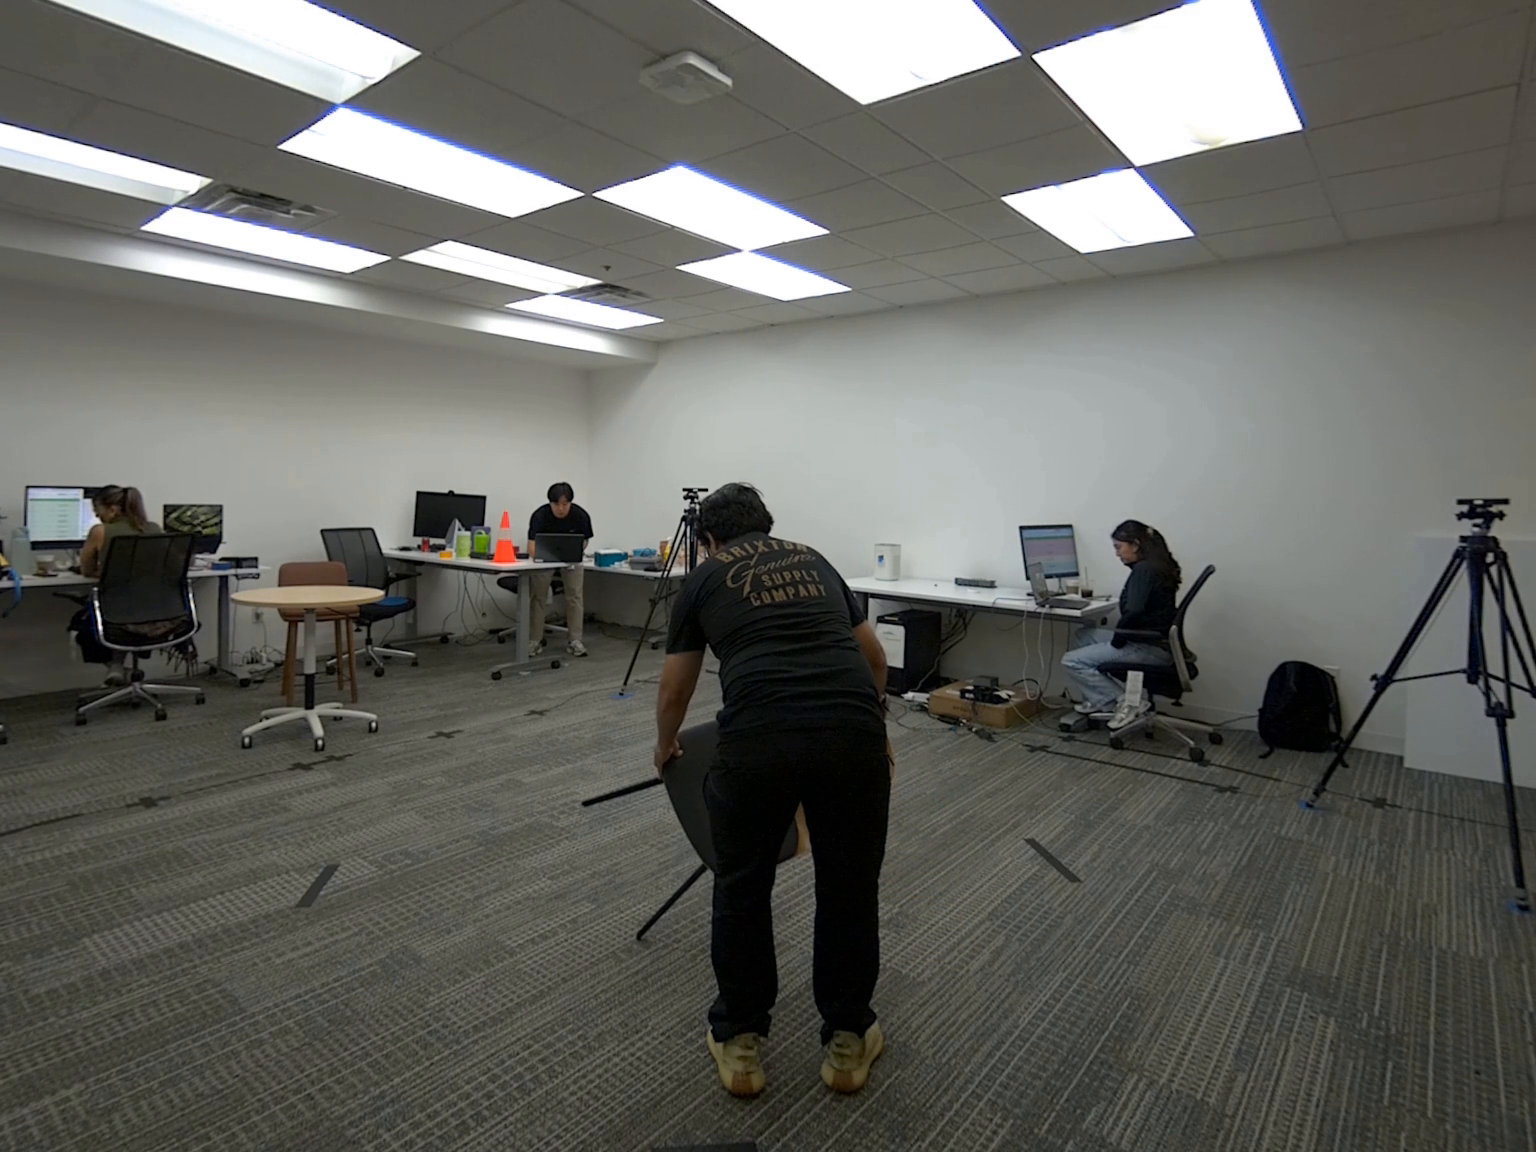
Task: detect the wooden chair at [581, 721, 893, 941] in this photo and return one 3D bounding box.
[{"bbox_3d":[-0.105,0.678,2.621,0.881,0.491,0.507,-40,-23,29],"label":"wooden chair"}]
